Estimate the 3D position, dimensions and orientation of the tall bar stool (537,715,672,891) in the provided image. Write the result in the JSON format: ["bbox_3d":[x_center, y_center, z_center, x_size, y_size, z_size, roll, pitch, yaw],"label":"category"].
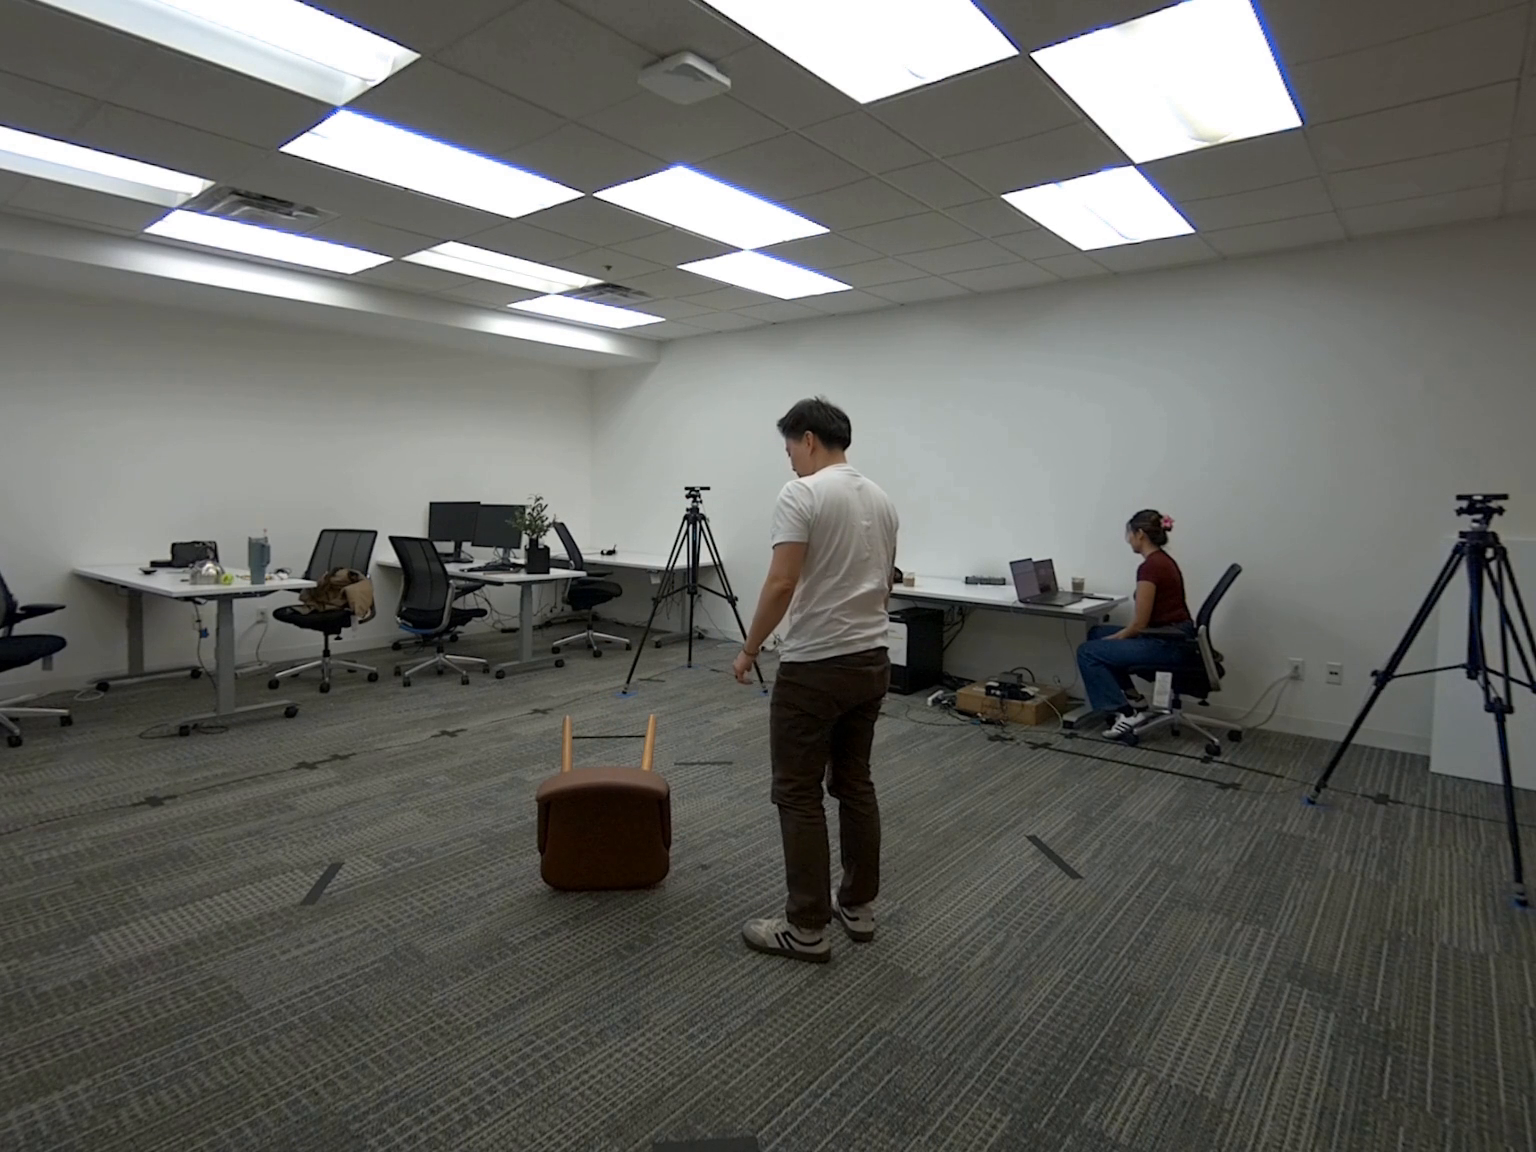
[{"bbox_3d":[-0.594,0.834,3.066,0.453,0.466,0.899,0,4,-8],"label":"tall bar stool"}]
